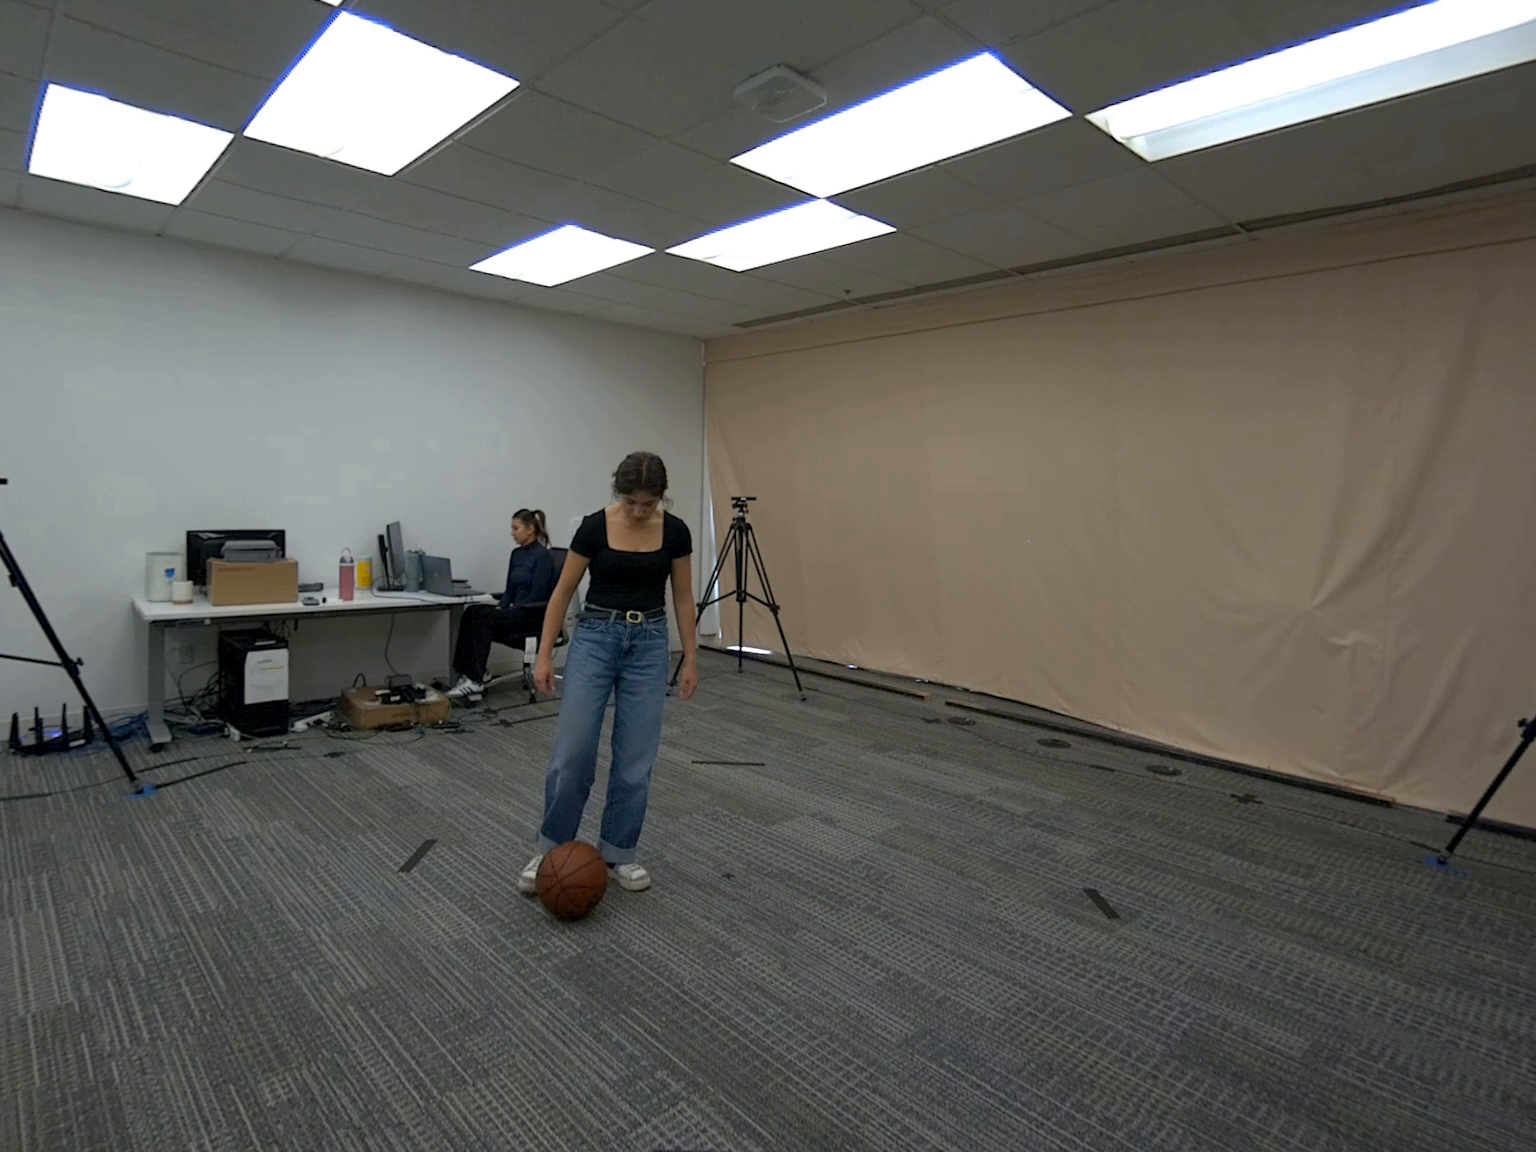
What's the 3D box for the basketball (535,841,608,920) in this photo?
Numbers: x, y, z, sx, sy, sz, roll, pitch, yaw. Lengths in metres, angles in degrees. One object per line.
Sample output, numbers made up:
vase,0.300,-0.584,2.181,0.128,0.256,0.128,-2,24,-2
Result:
basketball,-0.662,1.008,2.786,0.236,0.235,0.237,1,4,-1
